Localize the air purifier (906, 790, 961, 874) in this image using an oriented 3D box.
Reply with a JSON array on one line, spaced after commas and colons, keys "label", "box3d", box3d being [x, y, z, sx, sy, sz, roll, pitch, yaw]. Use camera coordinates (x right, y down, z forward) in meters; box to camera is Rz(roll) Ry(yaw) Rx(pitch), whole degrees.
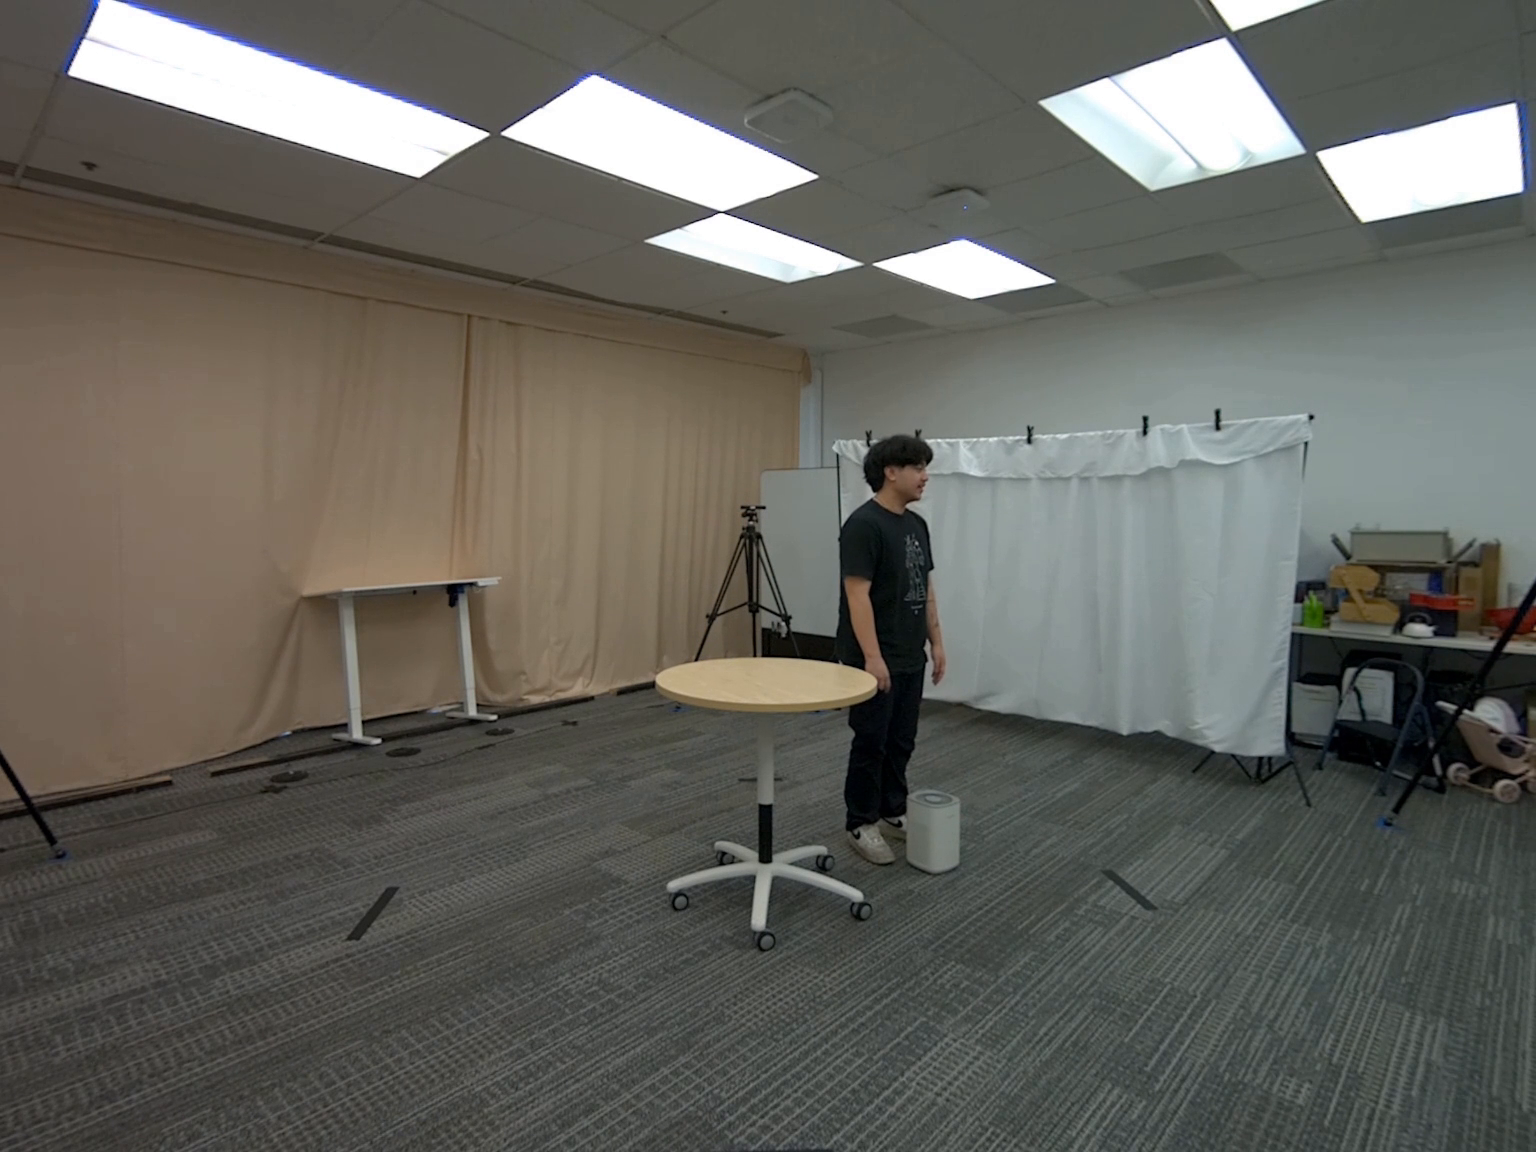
[{"label": "air purifier", "box3d": [0.644, 0.988, 3.247, 0.166, 0.264, 0.177, -3, 6, -38]}]
